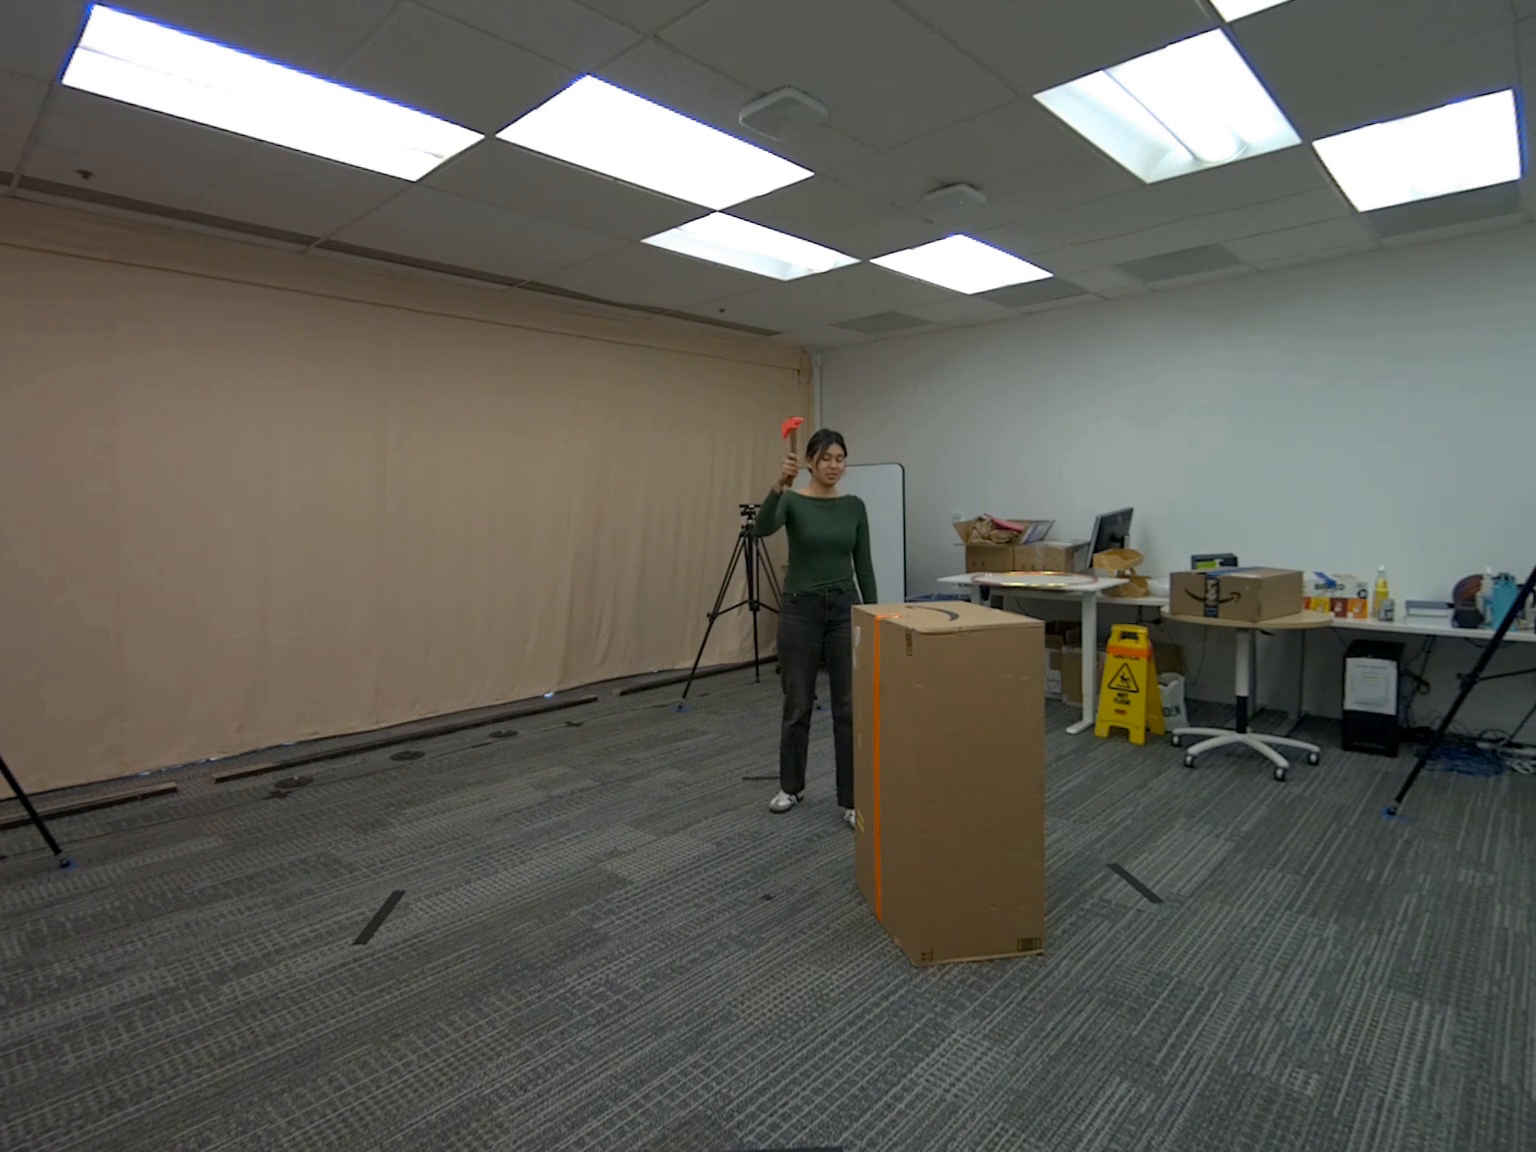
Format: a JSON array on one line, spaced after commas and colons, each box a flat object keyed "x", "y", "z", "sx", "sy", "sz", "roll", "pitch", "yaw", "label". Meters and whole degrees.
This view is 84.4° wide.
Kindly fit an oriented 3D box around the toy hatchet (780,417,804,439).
[{"x": 0.079, "y": -0.479, "z": 3.300, "sx": 0.029, "sy": 0.268, "sz": 0.136, "roll": -1, "pitch": 15, "yaw": -36, "label": "toy hatchet"}]
